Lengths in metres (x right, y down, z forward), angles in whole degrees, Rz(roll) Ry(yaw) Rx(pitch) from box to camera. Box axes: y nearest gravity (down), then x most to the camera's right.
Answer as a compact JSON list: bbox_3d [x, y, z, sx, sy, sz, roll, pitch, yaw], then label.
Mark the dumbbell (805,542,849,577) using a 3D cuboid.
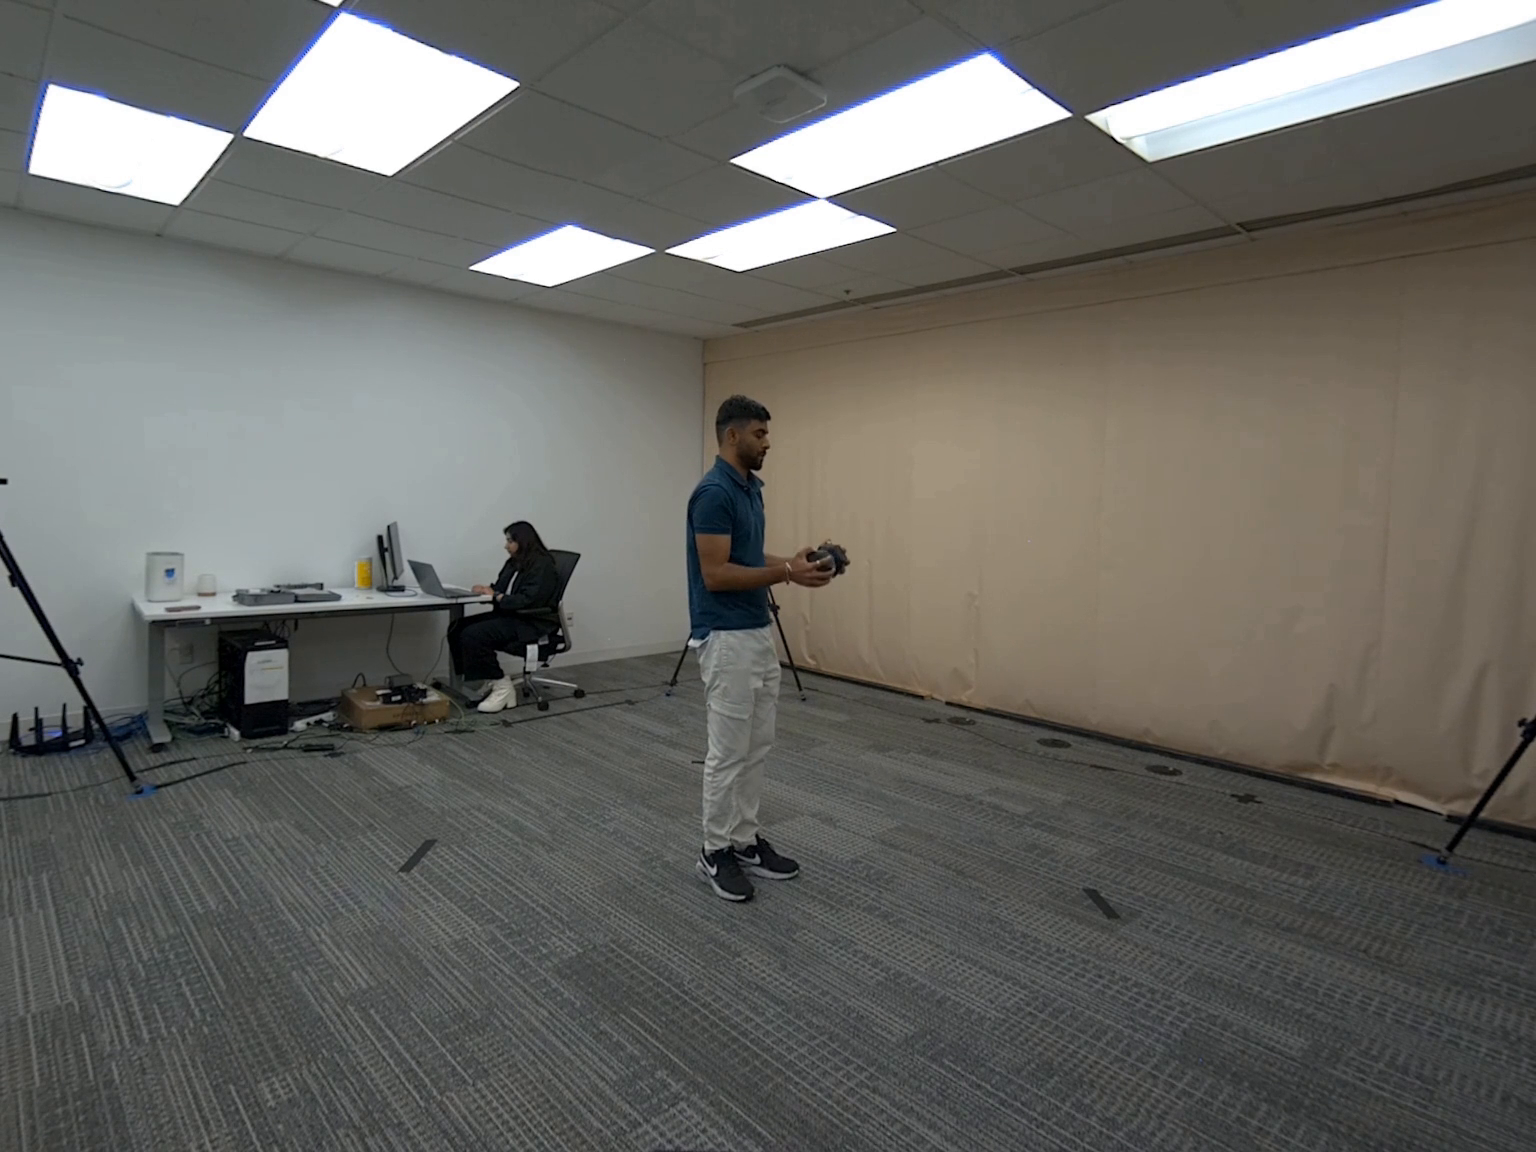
[{"bbox_3d":[0.165,-0.046,2.959,0.109,0.123,0.291,-28,0,16],"label":"dumbbell"}]
